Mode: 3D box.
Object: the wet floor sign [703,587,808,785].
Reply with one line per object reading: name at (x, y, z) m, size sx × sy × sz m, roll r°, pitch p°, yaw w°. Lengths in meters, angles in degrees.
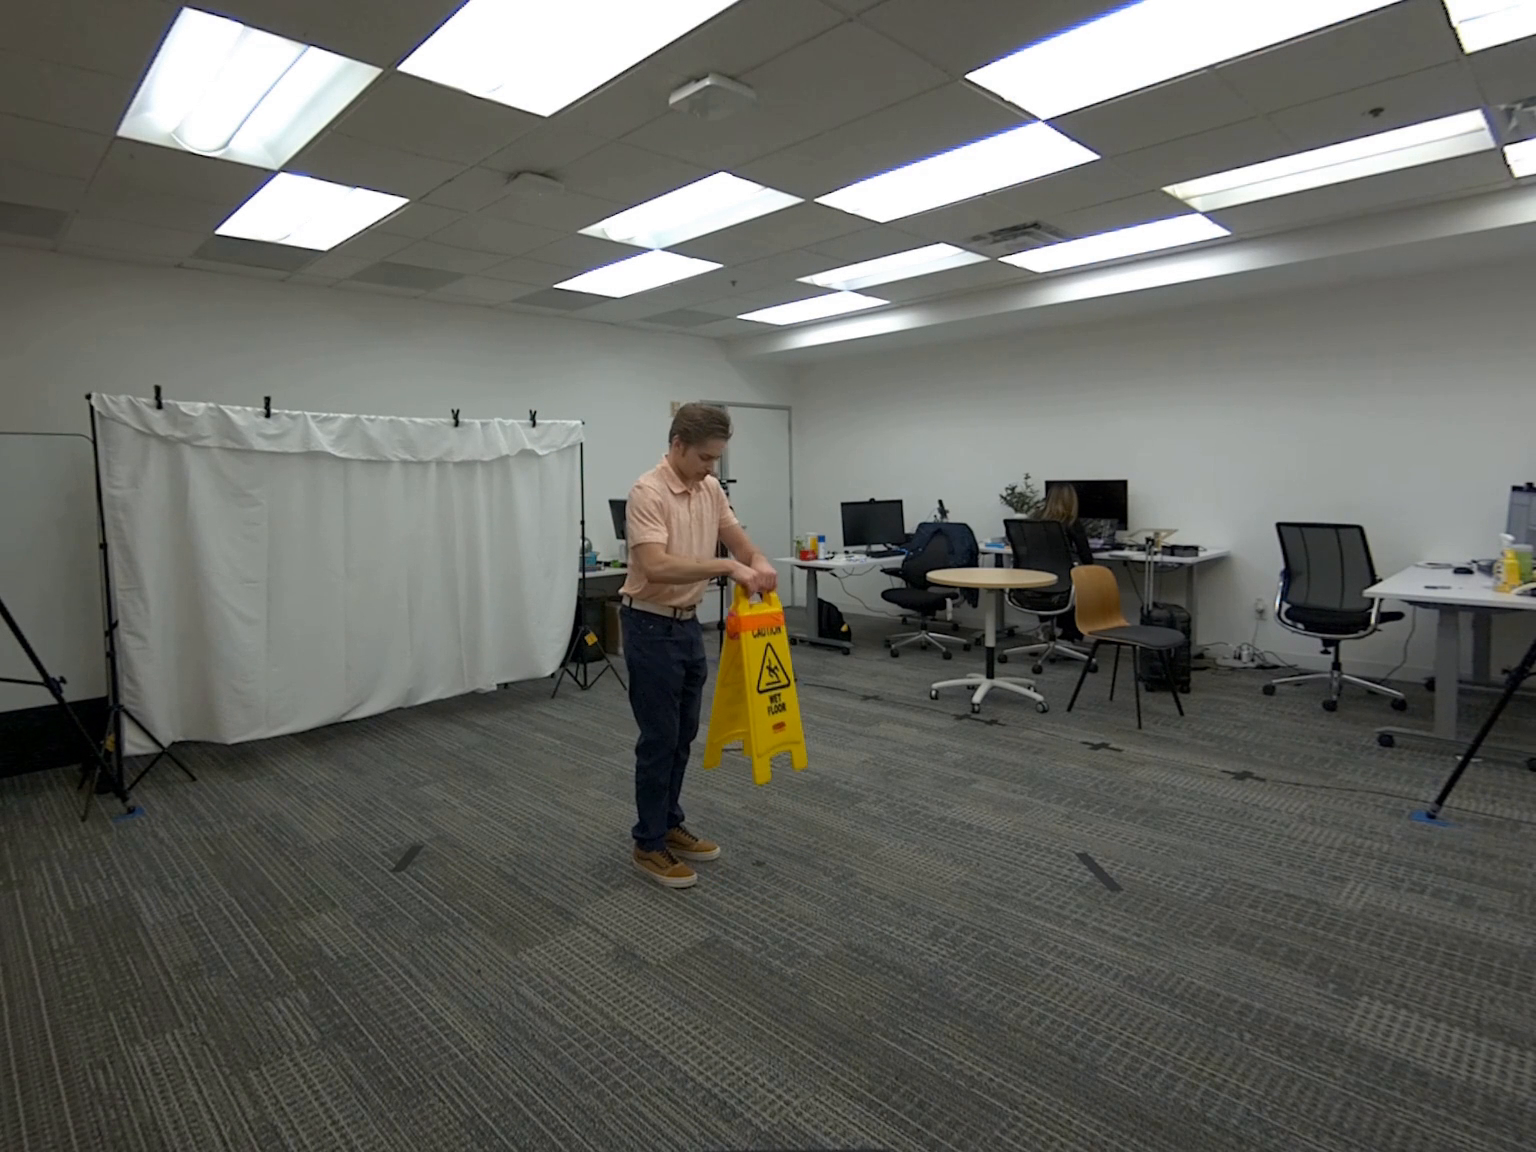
wet floor sign at (-0.041, 0.348, 2.922) m, size 0.298 × 0.644 × 0.274 m, roll 3°, pitch 4°, yaw 40°
